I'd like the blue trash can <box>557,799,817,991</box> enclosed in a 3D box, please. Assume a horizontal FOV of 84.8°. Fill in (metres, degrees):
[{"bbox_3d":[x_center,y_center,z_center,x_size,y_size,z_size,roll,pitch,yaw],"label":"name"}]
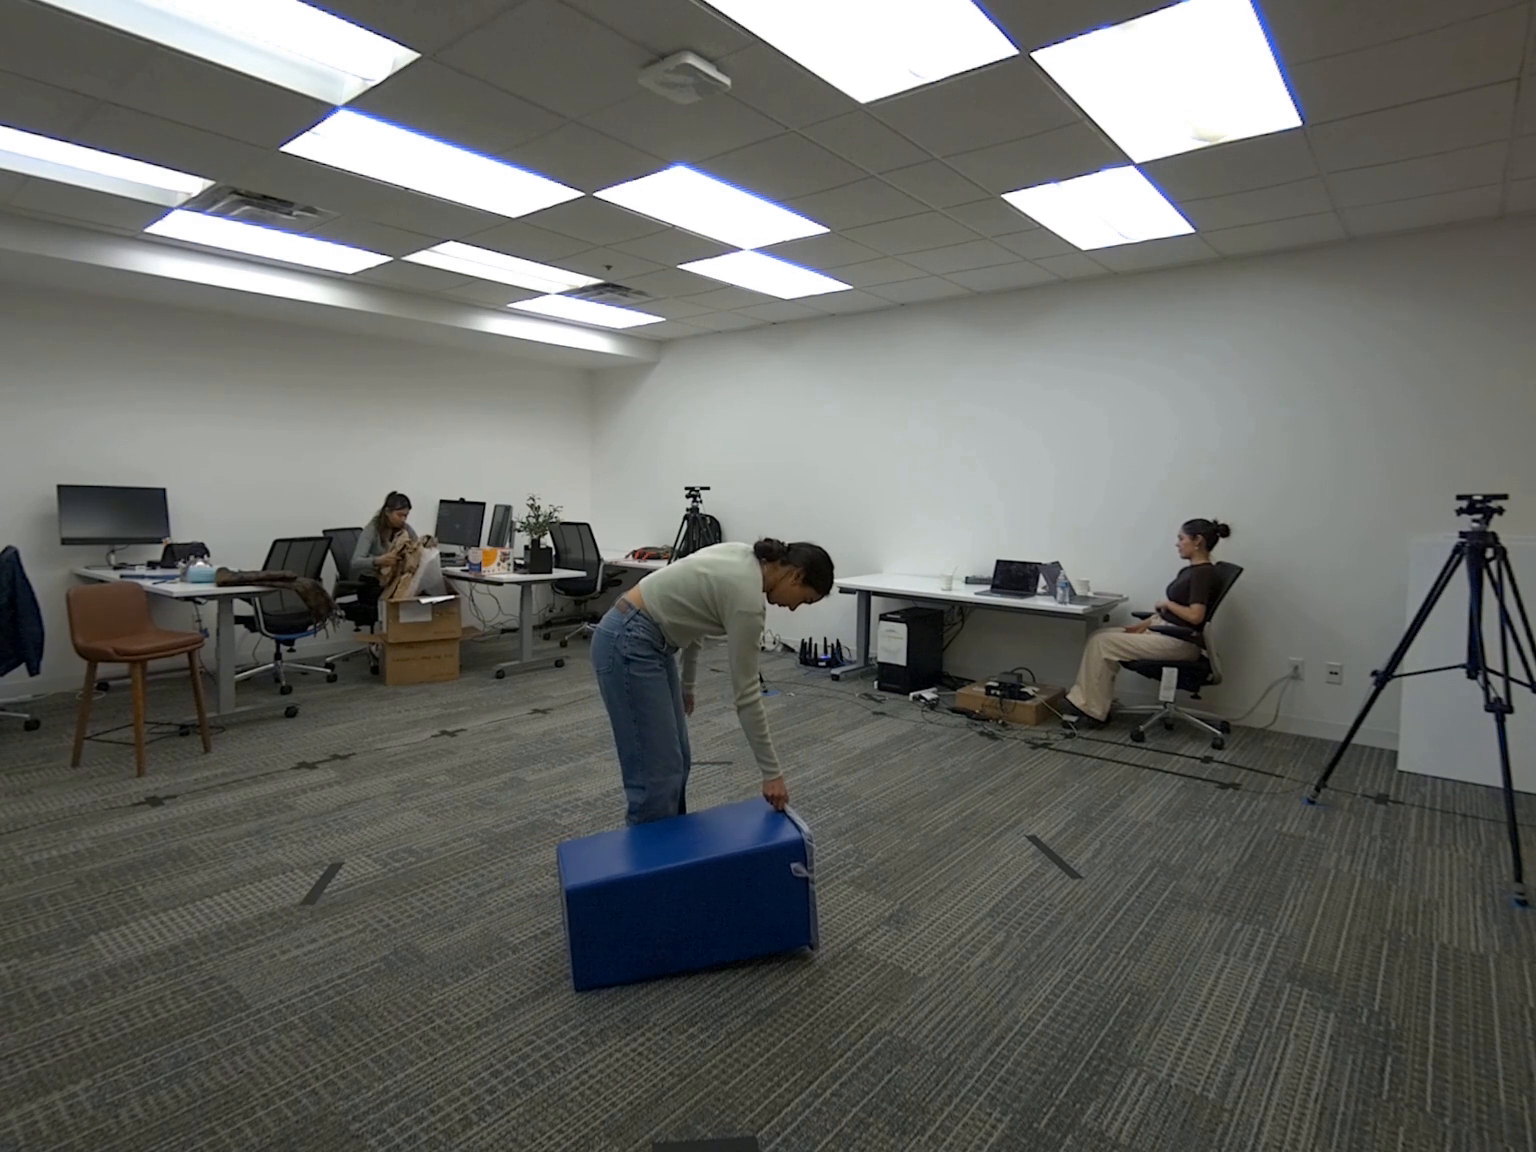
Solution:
[{"bbox_3d":[-0.257,0.922,2.550,0.703,0.376,0.382,-5,7,-15],"label":"blue trash can"}]
